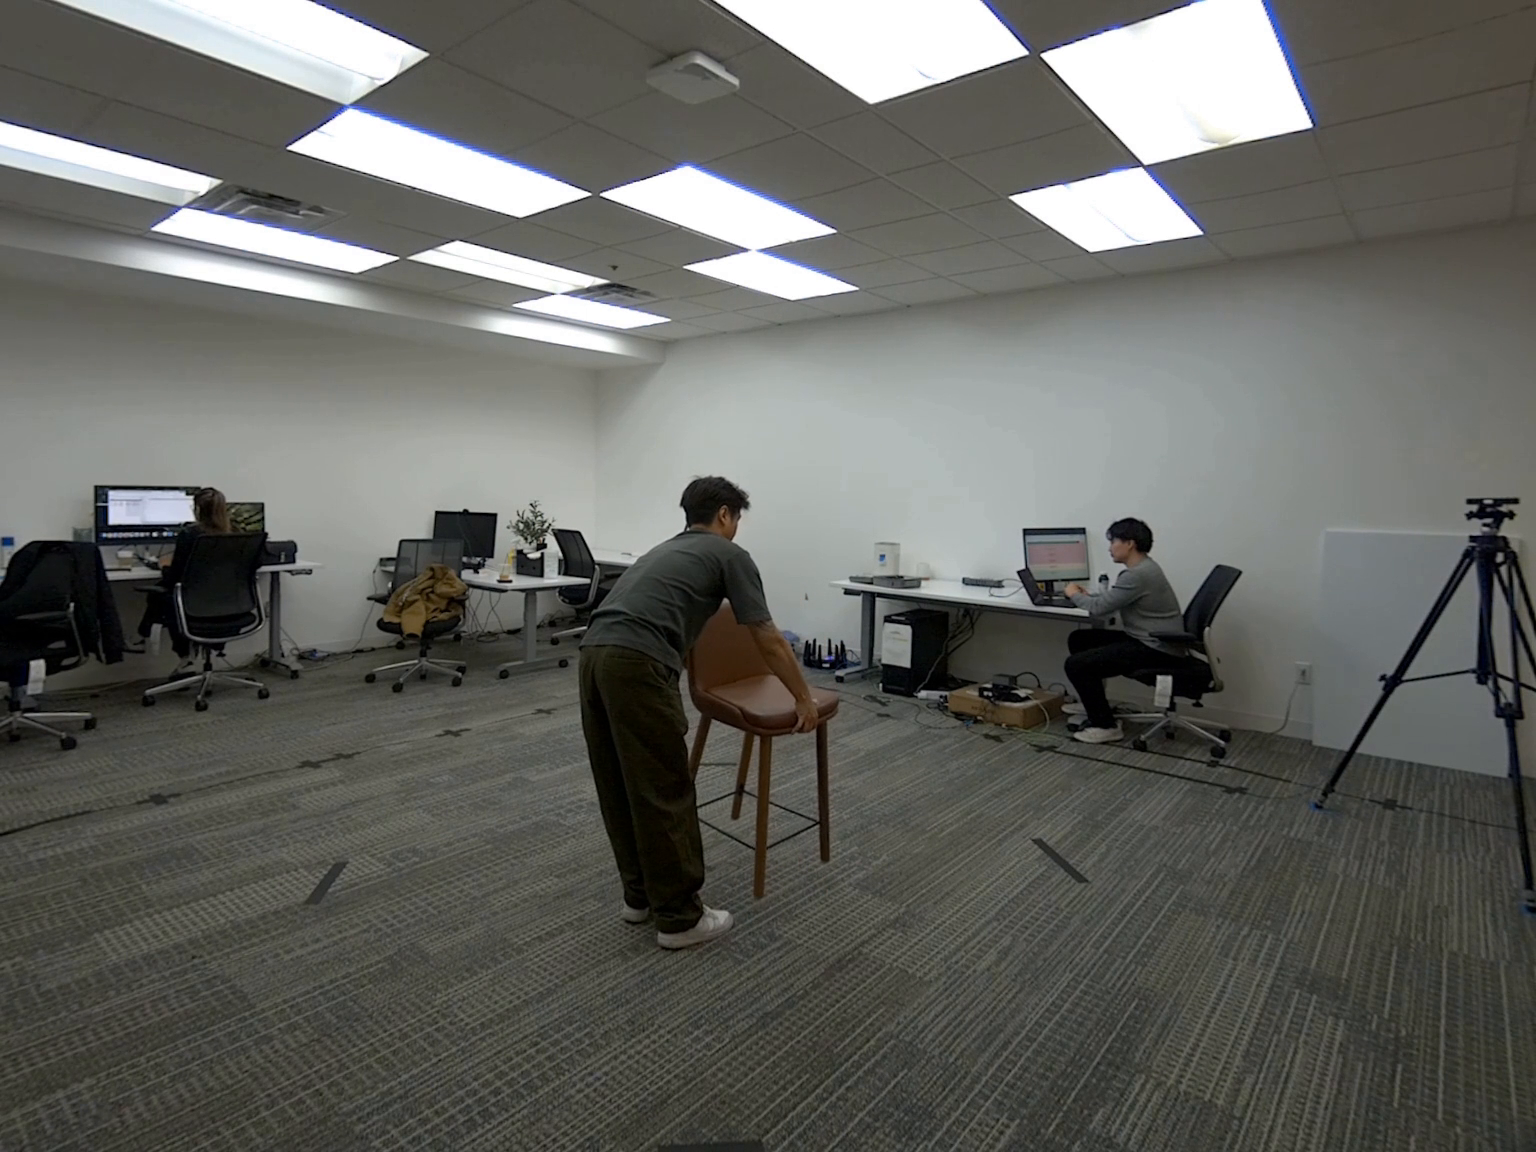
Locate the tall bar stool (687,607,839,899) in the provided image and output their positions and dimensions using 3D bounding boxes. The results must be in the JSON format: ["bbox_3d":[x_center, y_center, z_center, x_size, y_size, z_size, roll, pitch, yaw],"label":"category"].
[{"bbox_3d":[-0.042,0.576,3.031,0.485,0.885,0.443,11,8,40],"label":"tall bar stool"}]
